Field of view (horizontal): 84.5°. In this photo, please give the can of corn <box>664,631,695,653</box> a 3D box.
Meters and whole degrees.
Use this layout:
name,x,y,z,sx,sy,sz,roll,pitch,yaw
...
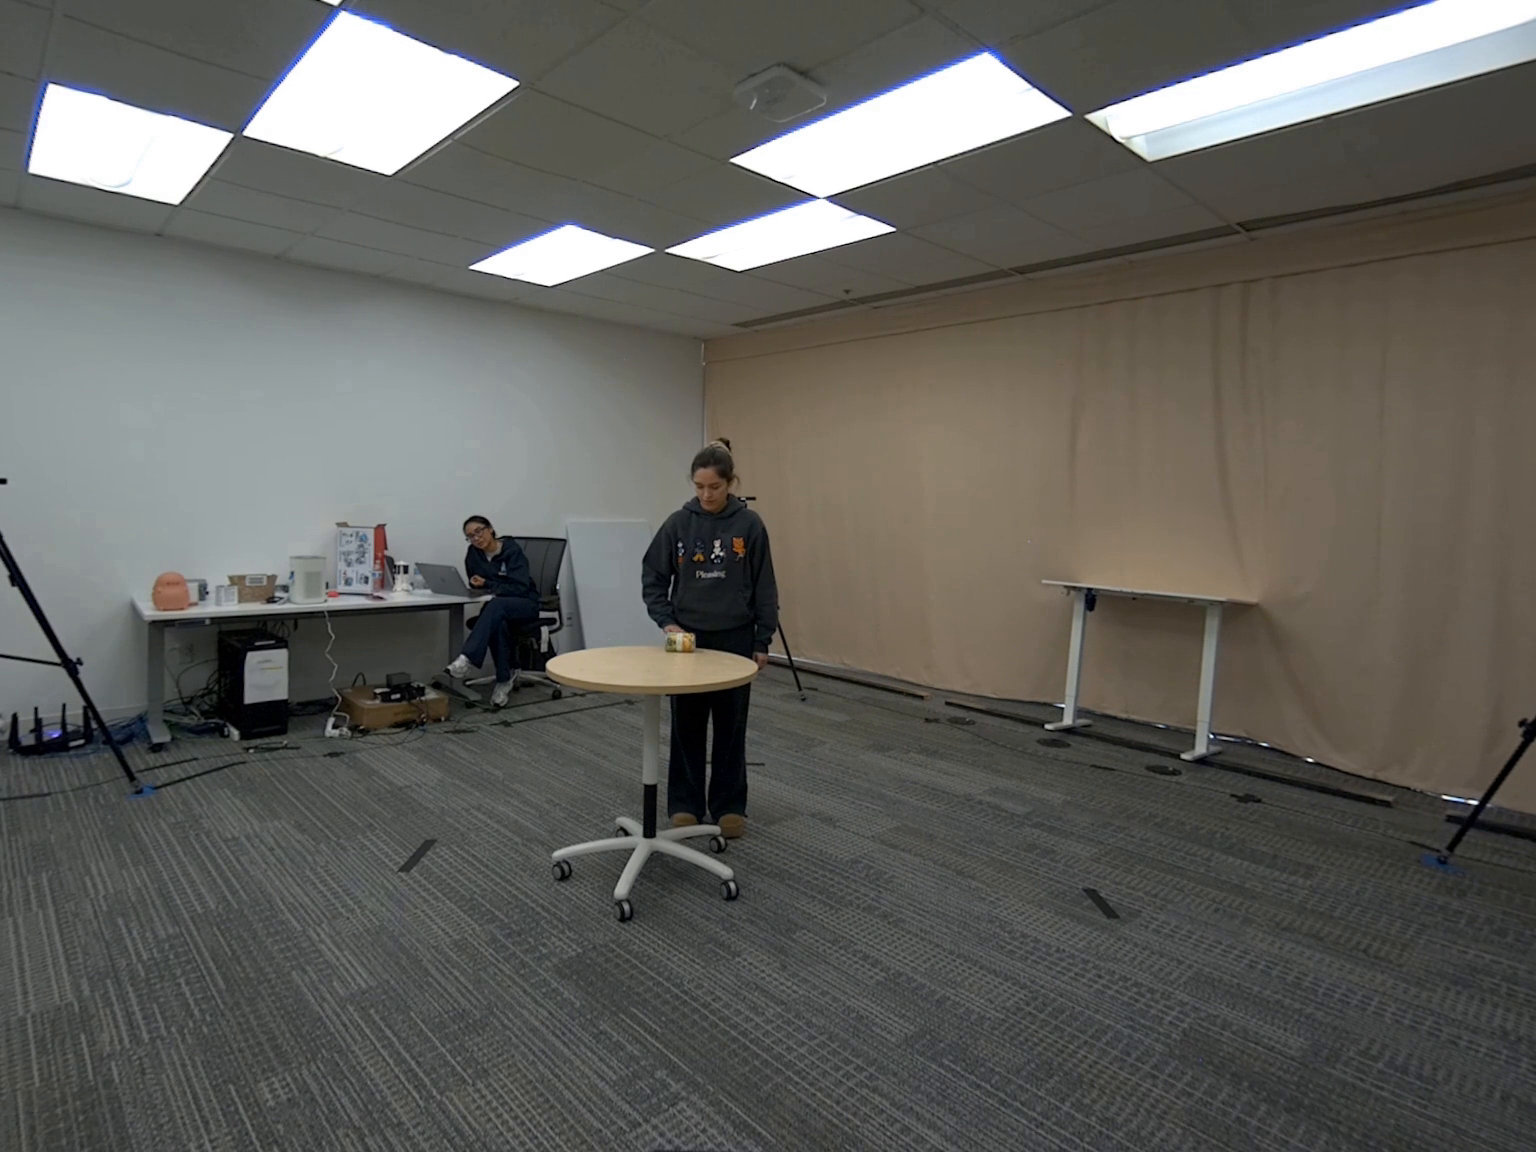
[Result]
name,x,y,z,sx,sy,sz,roll,pitch,yaw
can of corn,-0.360,0.265,3.336,0.111,0.074,0.074,2,5,2
